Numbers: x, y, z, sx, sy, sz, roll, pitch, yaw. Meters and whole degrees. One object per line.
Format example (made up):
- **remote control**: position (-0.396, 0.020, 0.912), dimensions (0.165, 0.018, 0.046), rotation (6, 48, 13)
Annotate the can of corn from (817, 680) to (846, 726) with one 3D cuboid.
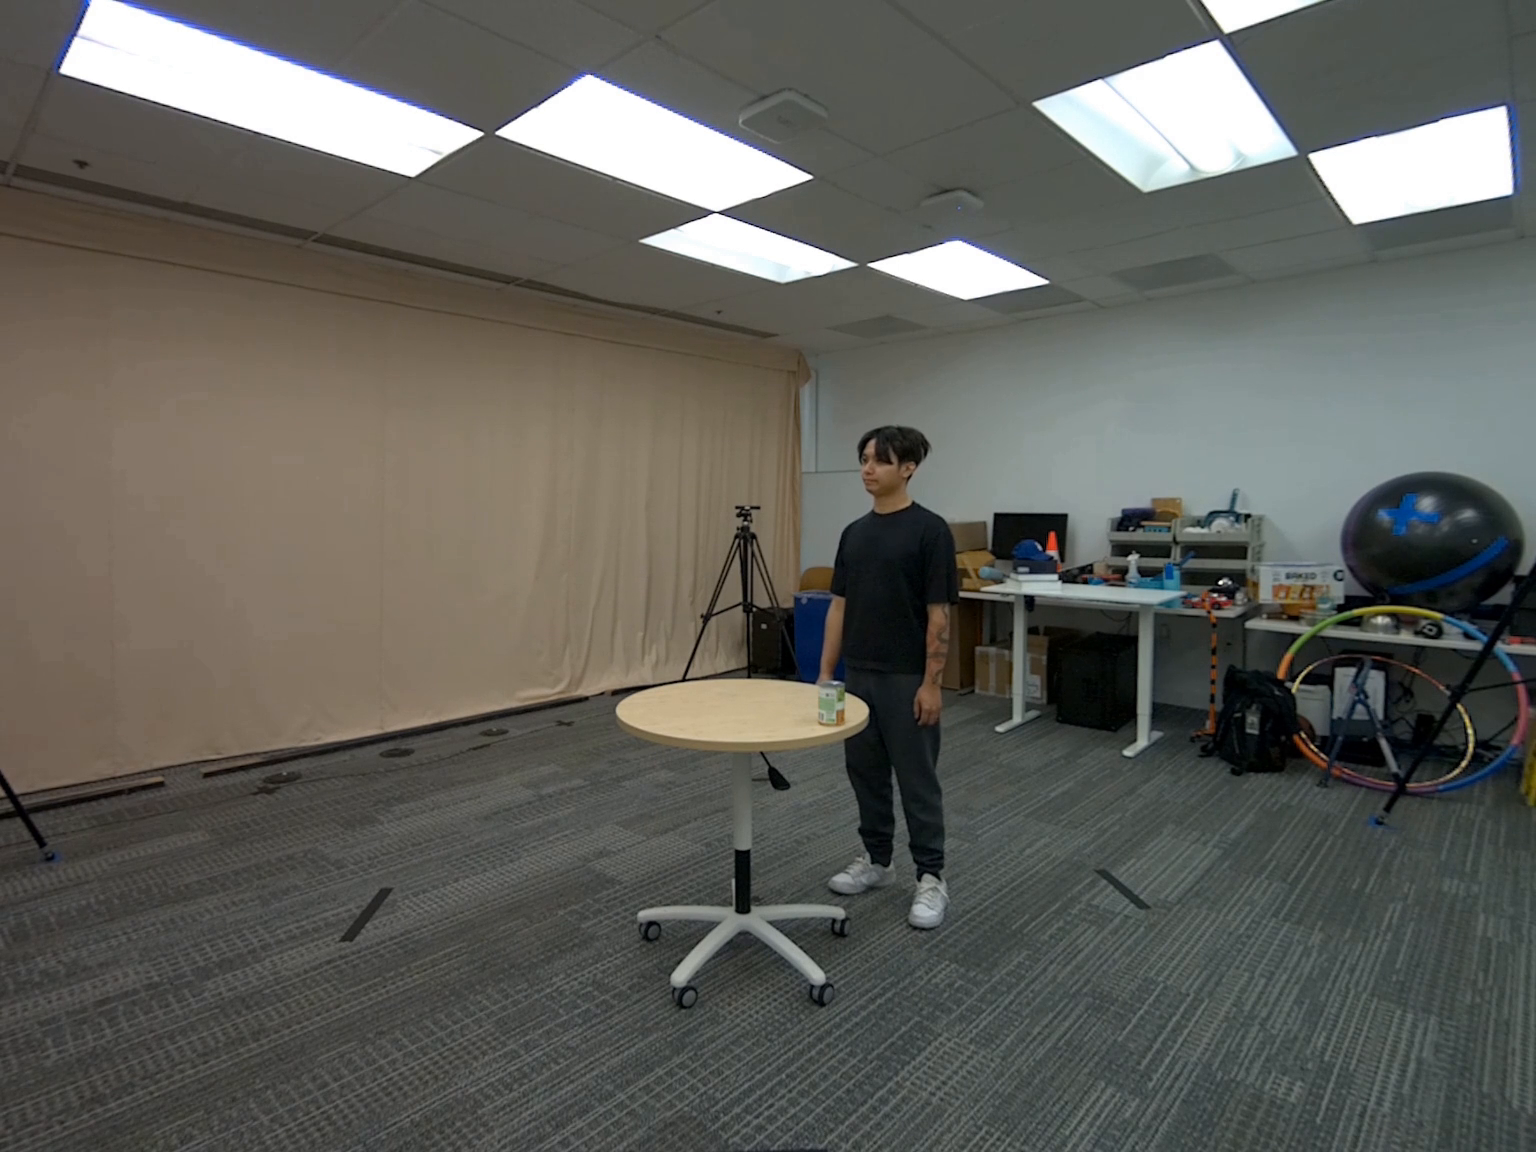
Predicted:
- **can of corn**: position (0.188, 0.358, 2.353), dimensions (0.074, 0.111, 0.074), rotation (2, 3, -2)
